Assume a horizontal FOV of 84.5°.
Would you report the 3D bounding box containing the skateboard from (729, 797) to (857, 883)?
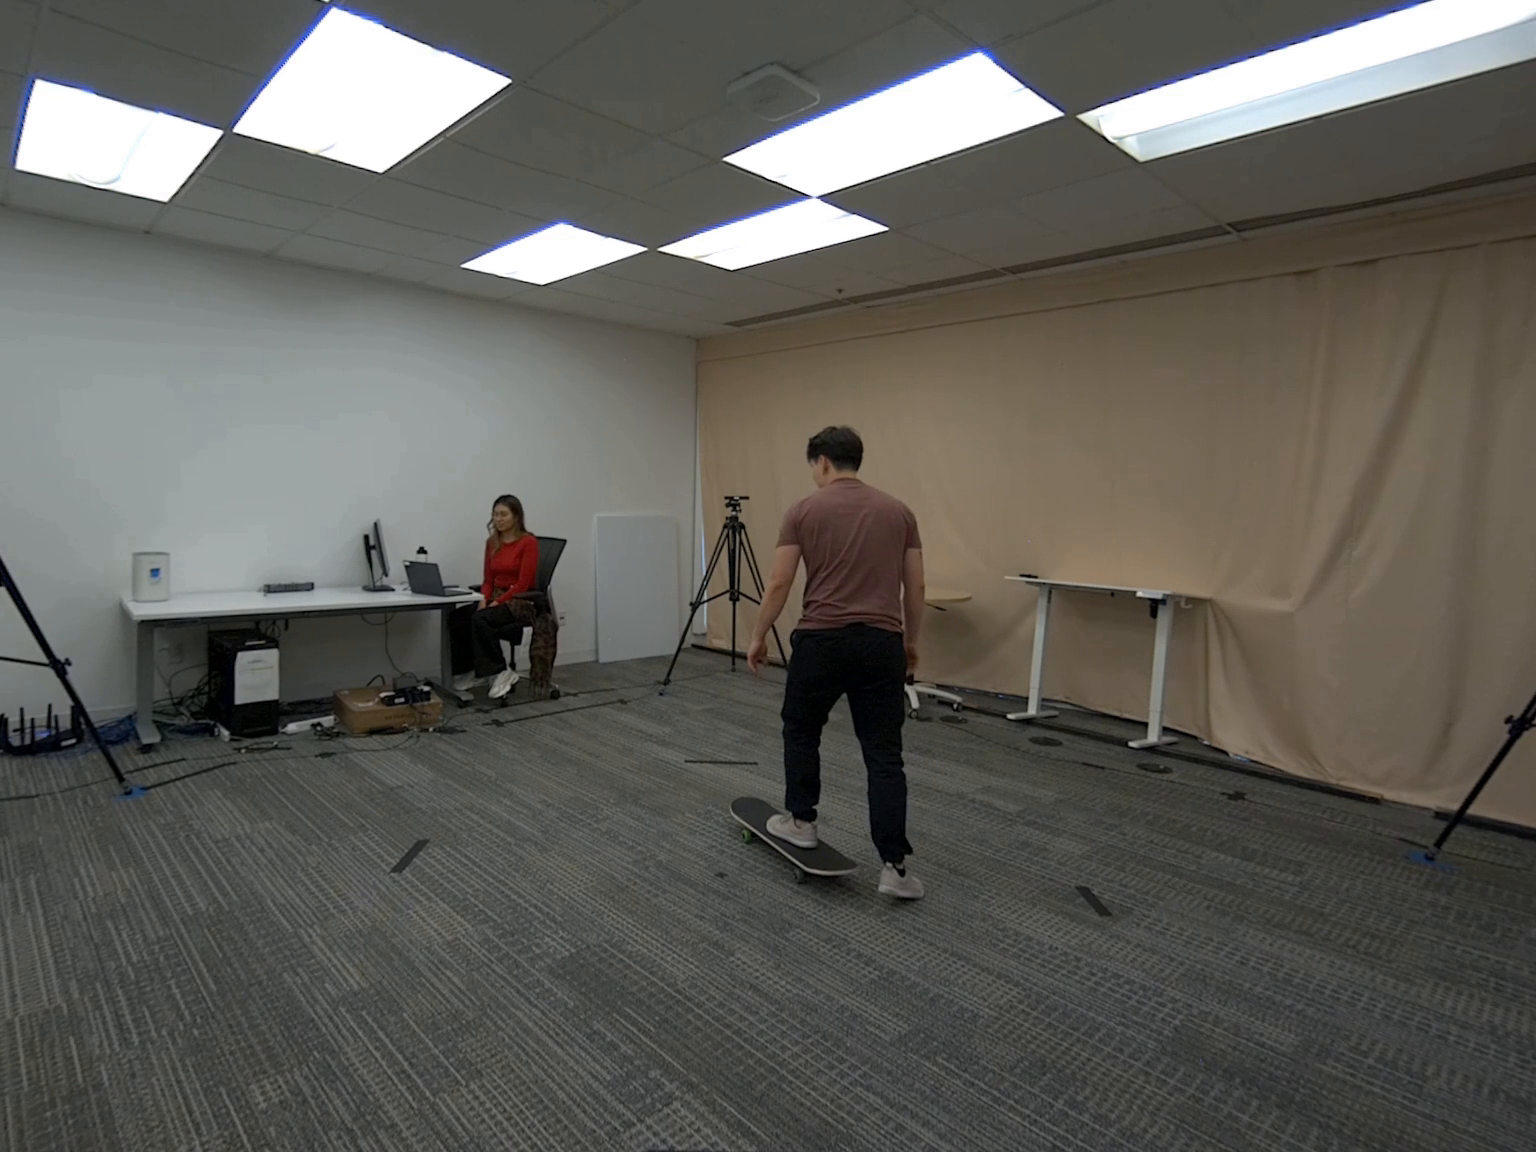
[{"bbox_3d":[0.071,1.041,3.274,0.190,0.110,0.803,0,5,-28],"label":"skateboard"}]
